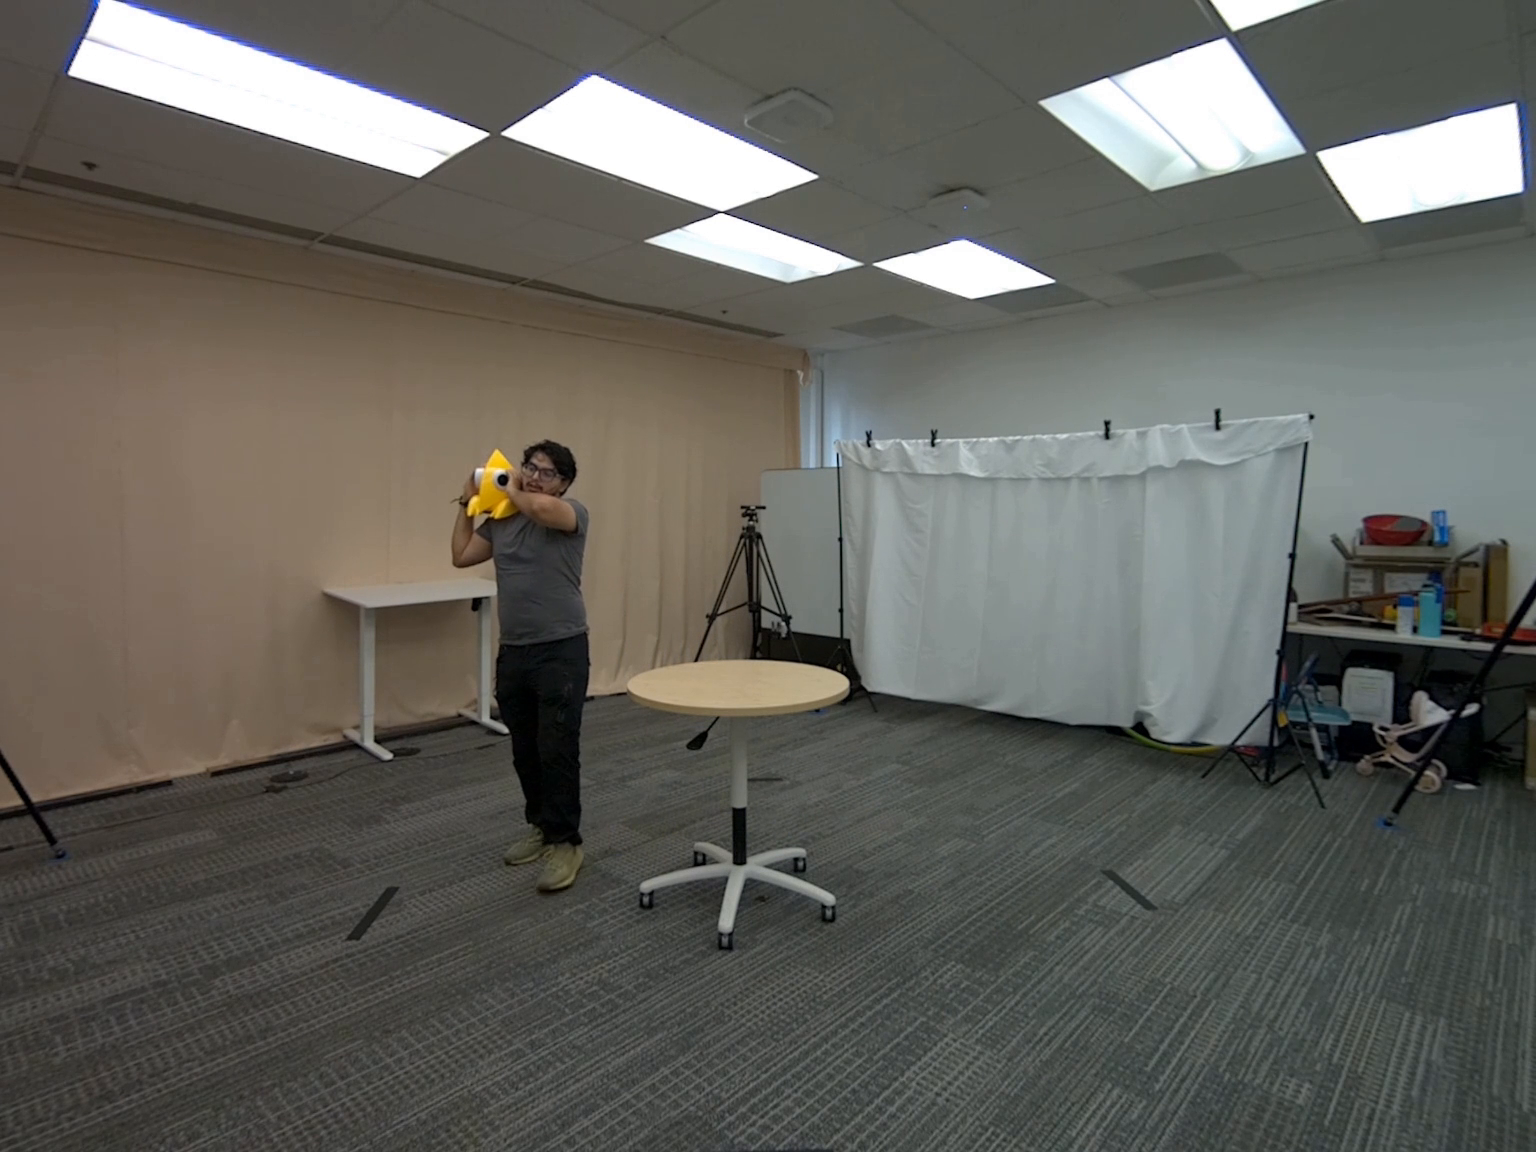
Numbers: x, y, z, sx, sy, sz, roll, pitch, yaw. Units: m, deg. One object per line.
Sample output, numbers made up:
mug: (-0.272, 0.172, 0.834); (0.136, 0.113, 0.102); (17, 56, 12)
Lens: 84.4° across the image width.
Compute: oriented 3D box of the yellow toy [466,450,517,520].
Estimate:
yellow toy: (-1.070, -0.367, 3.289); (0.209, 0.227, 0.191); (6, 24, 19)
